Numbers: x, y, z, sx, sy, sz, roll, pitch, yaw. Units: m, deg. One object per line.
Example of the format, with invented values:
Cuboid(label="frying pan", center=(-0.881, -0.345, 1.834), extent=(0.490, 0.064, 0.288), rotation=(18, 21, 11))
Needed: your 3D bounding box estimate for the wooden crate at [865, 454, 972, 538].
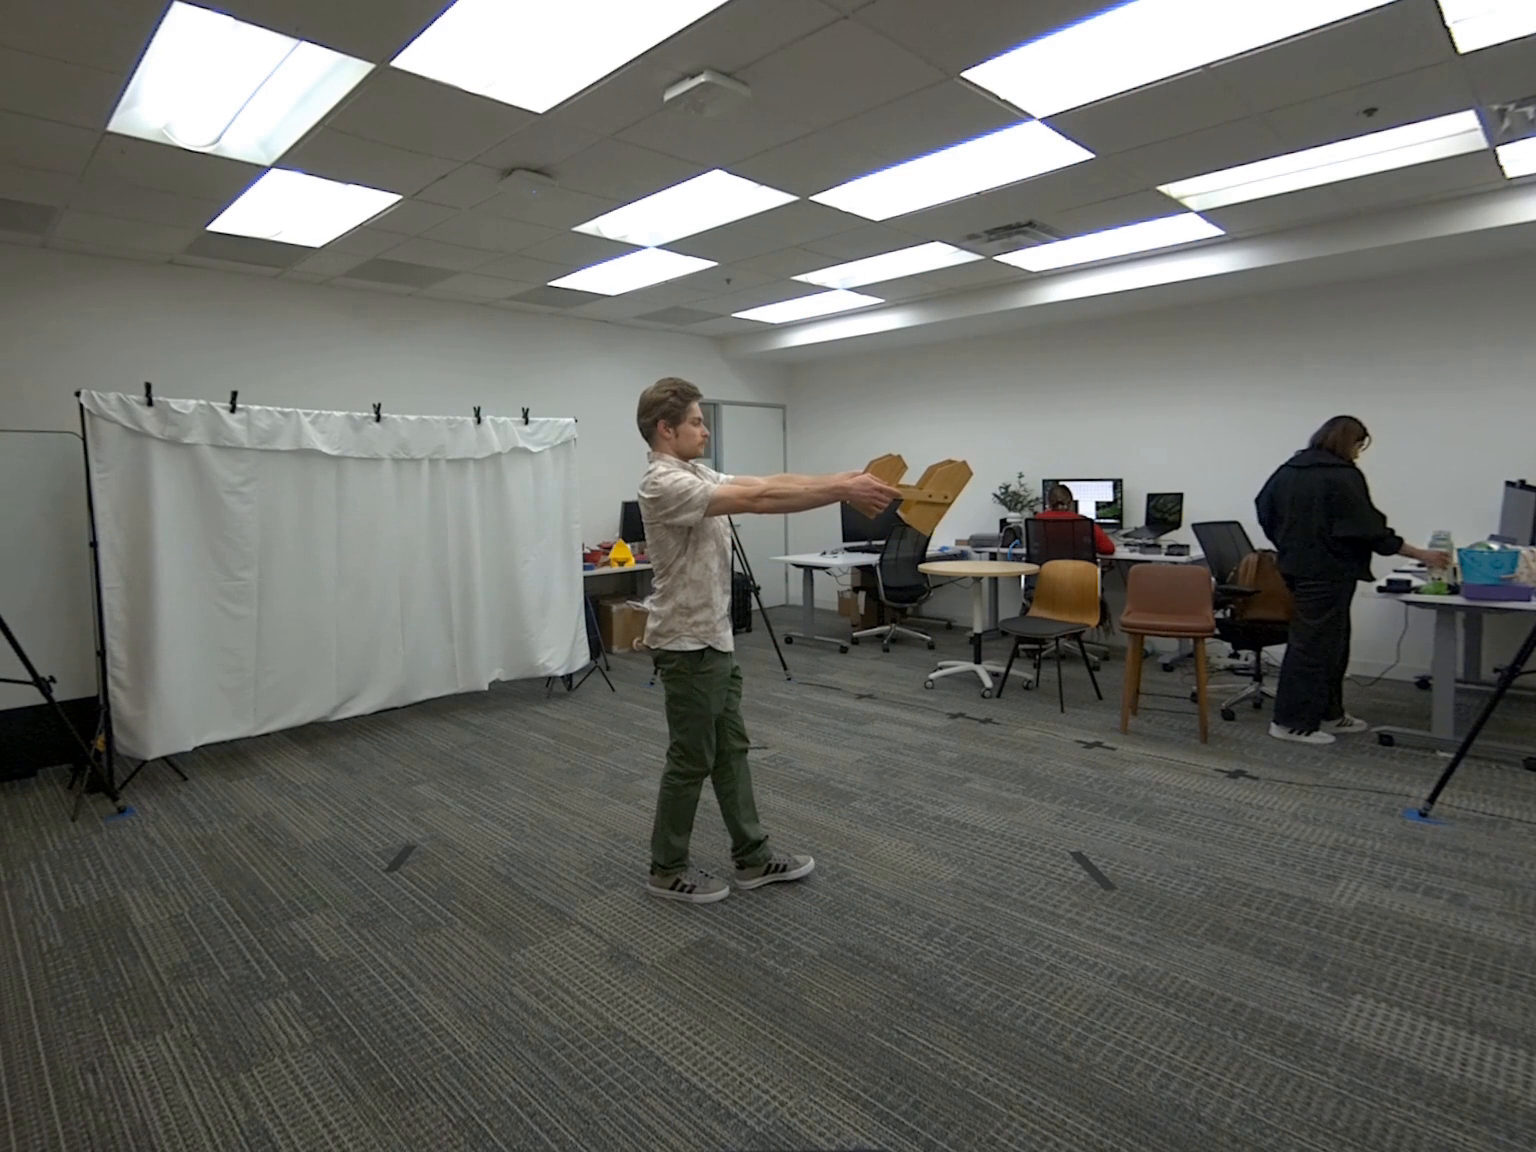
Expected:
Cuboid(label="wooden crate", center=(0.446, -0.294, 2.711), extent=(0.274, 0.301, 0.324), rotation=(34, 10, 1))
